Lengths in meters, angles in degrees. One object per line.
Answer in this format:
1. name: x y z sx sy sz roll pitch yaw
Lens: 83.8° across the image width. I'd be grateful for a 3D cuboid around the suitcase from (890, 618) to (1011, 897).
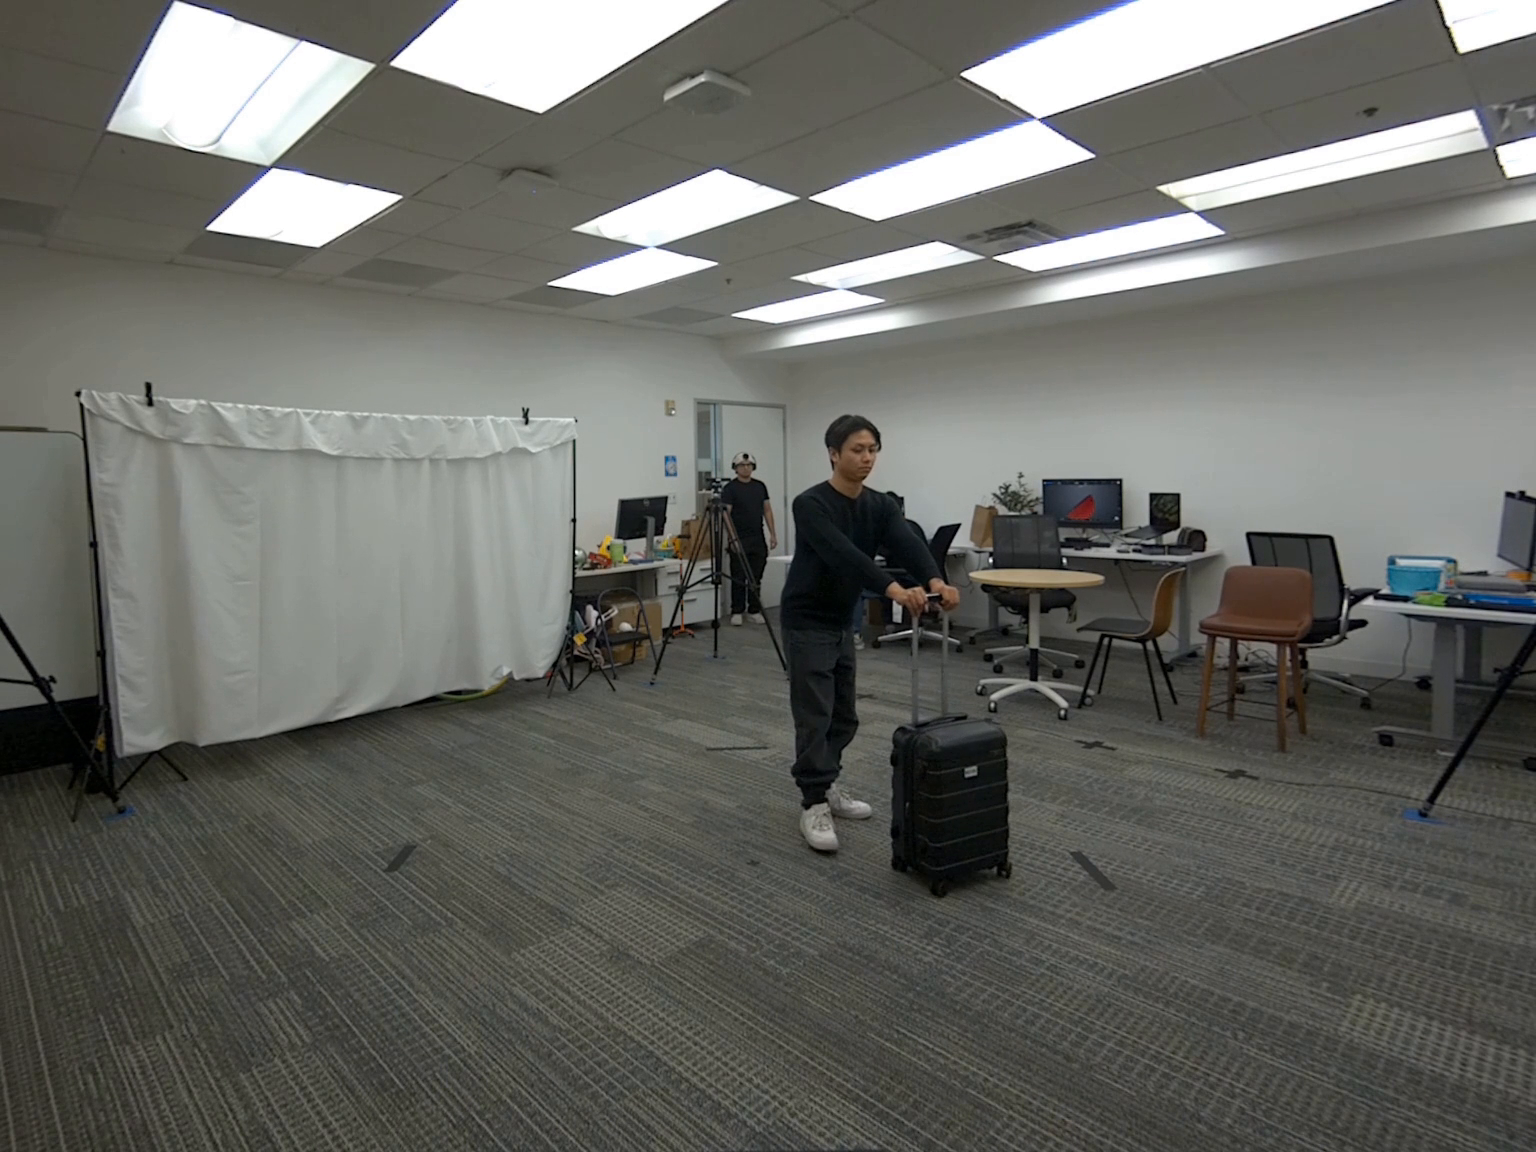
1. suitcase: 0.633 0.571 2.947 0.377 0.972 0.263 -5 7 -23
